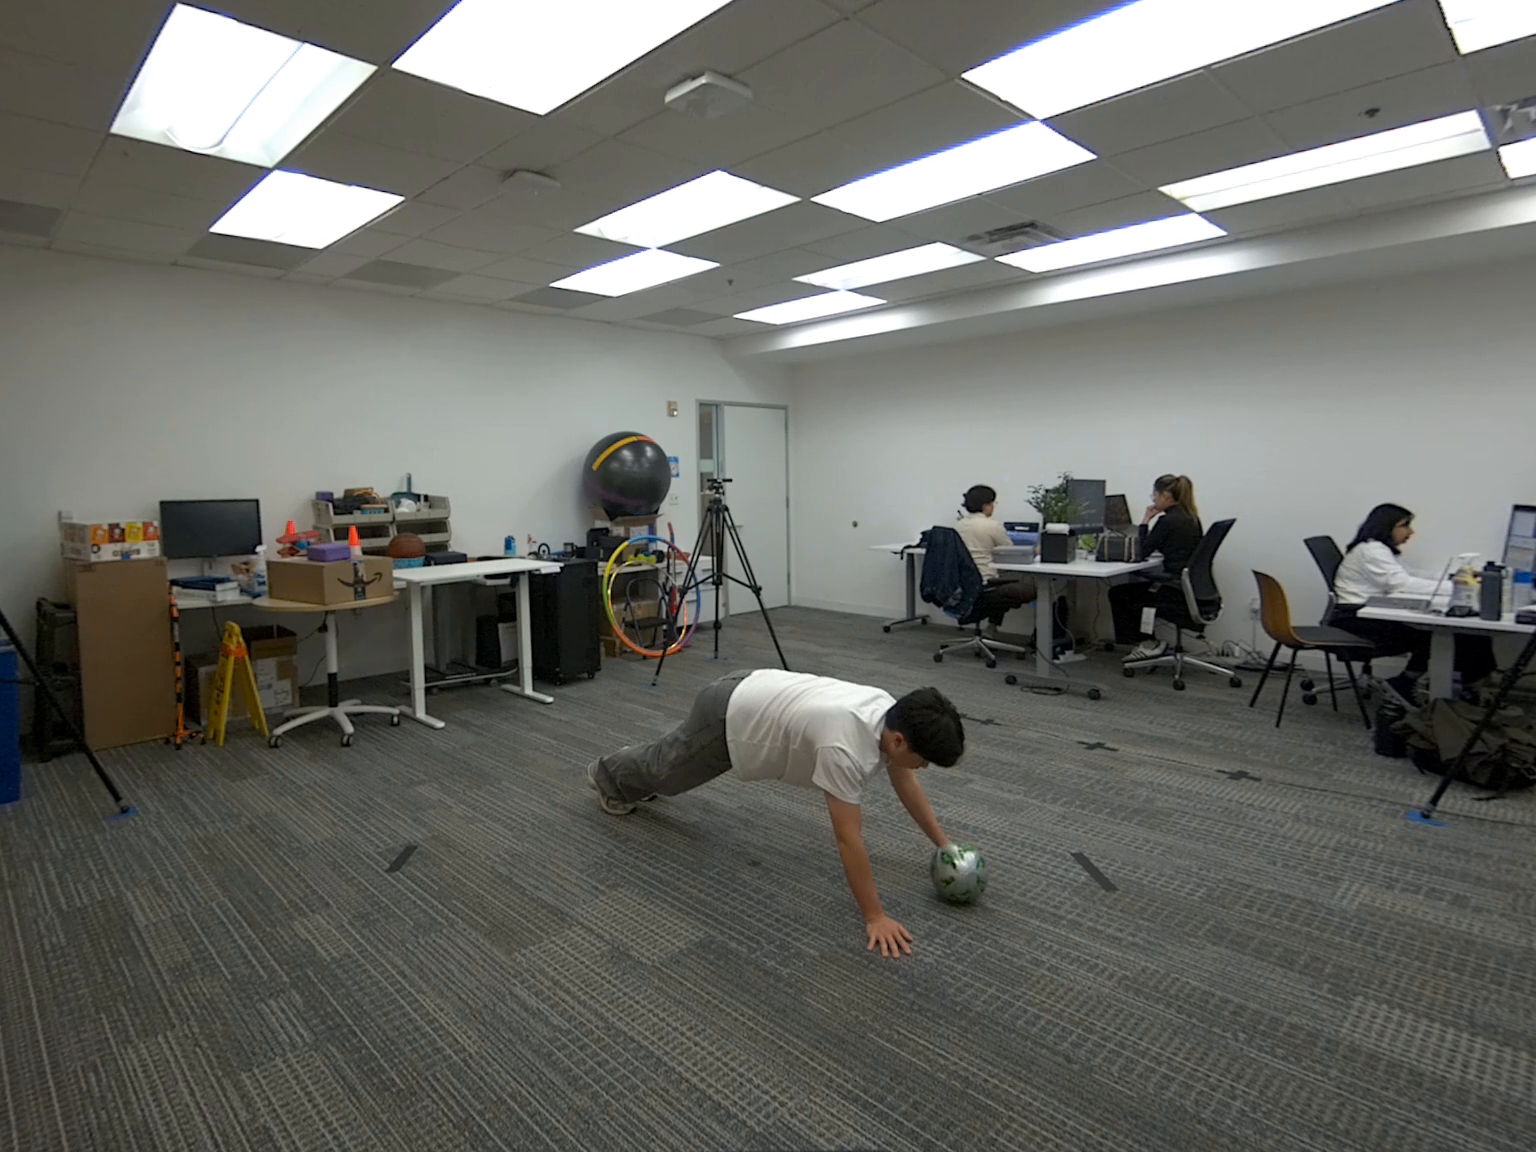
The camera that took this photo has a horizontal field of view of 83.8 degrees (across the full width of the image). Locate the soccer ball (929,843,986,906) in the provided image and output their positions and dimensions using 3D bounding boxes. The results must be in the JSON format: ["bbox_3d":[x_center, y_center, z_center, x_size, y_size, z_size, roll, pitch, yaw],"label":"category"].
[{"bbox_3d":[0.633,0.975,2.819,0.187,0.187,0.188,-1,5,-2],"label":"soccer ball"}]
